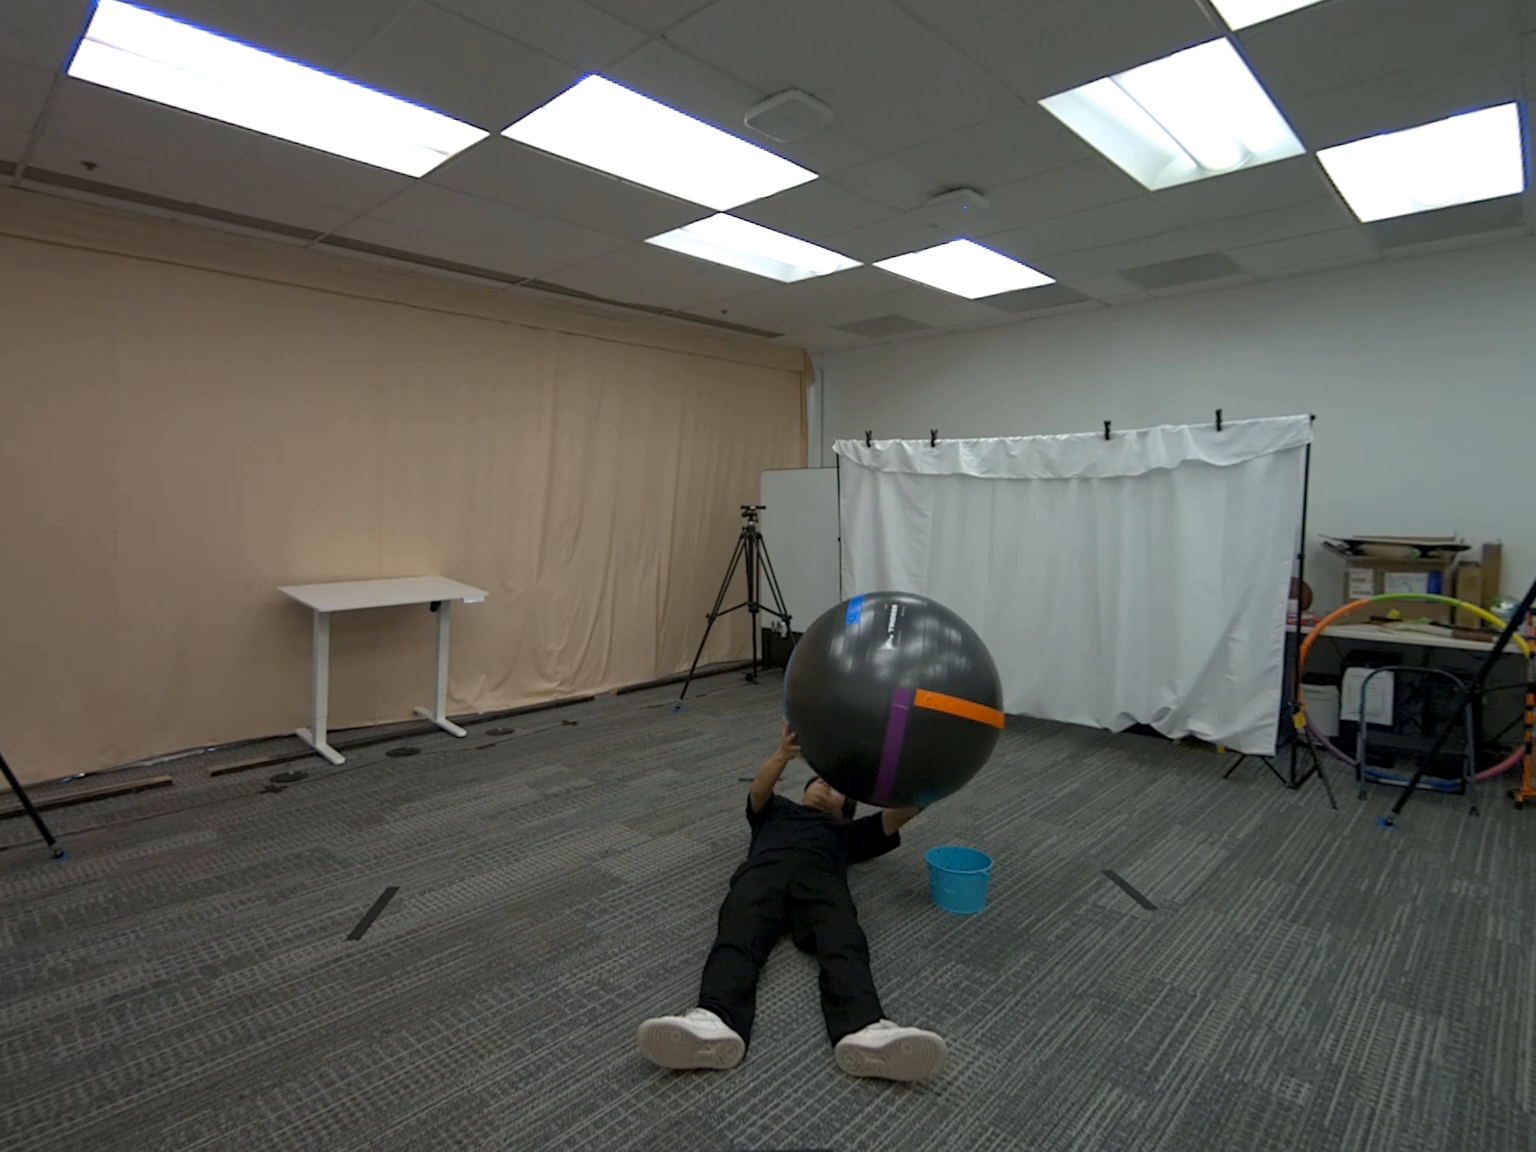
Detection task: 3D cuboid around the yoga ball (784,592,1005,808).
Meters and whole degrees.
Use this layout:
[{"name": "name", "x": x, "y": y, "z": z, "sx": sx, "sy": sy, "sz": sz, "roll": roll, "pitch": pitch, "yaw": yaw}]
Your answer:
[{"name": "yoga ball", "x": 0.436, "y": 0.436, "z": 3.002, "sx": 0.757, "sy": 0.756, "sz": 0.760, "roll": 0, "pitch": 4, "yaw": -2}]
